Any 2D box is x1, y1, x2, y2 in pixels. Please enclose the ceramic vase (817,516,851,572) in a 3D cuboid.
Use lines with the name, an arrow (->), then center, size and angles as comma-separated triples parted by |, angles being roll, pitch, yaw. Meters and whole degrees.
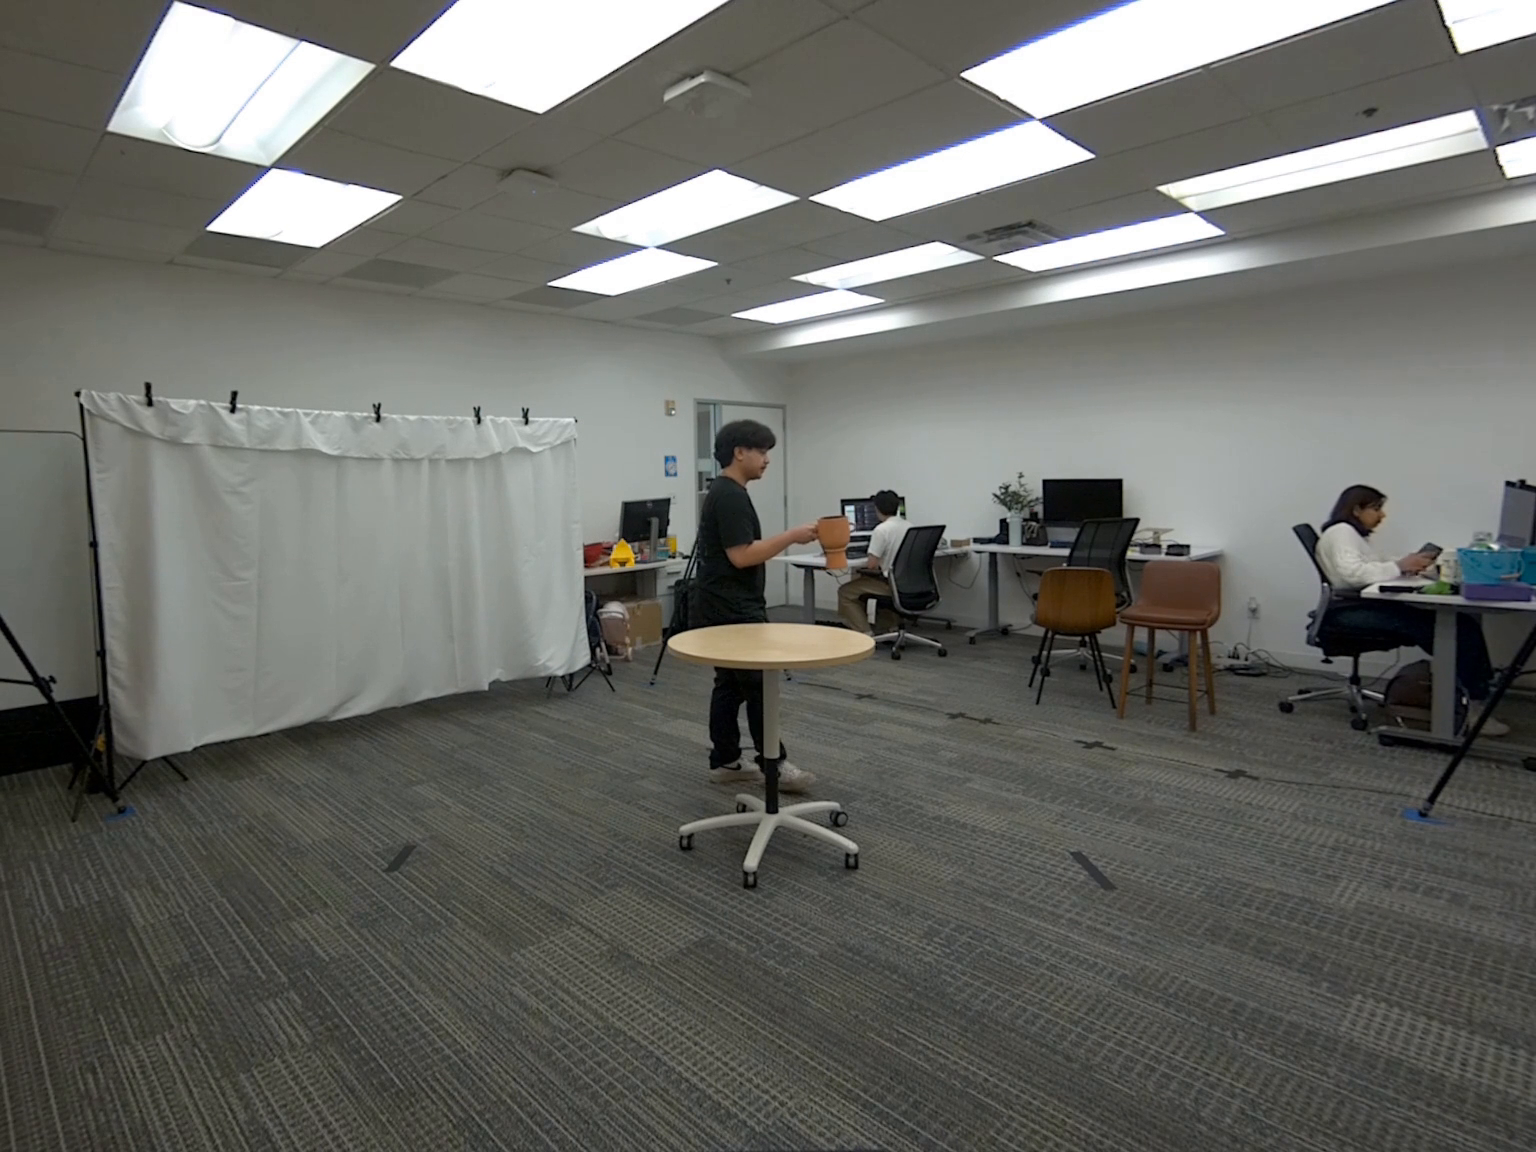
ceramic vase -> 0.287, -0.145, 3.694 | 0.131, 0.218, 0.164 | -13, 12, -43
